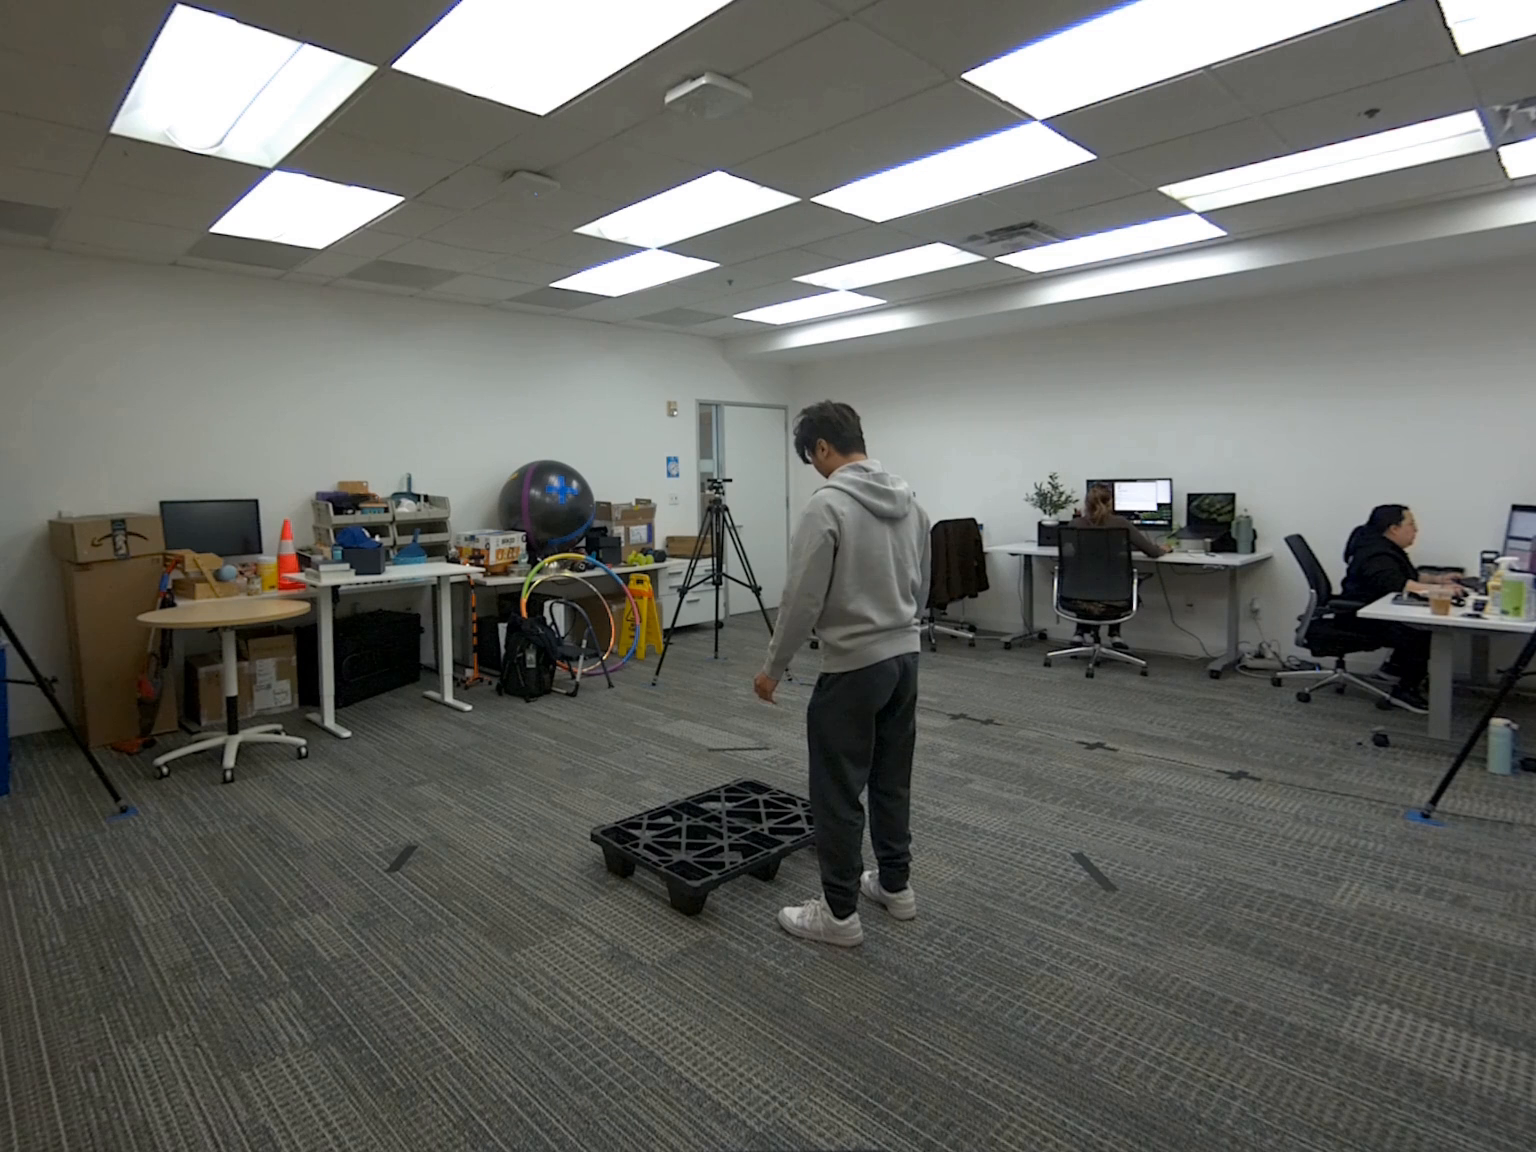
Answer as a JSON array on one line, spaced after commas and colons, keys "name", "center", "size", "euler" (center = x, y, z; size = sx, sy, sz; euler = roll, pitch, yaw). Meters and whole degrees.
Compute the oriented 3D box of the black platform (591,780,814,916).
[{"name": "black platform", "center": [-0.152, 0.977, 3.149], "size": [0.784, 0.142, 0.624], "euler": [-7, 9, -44]}]
